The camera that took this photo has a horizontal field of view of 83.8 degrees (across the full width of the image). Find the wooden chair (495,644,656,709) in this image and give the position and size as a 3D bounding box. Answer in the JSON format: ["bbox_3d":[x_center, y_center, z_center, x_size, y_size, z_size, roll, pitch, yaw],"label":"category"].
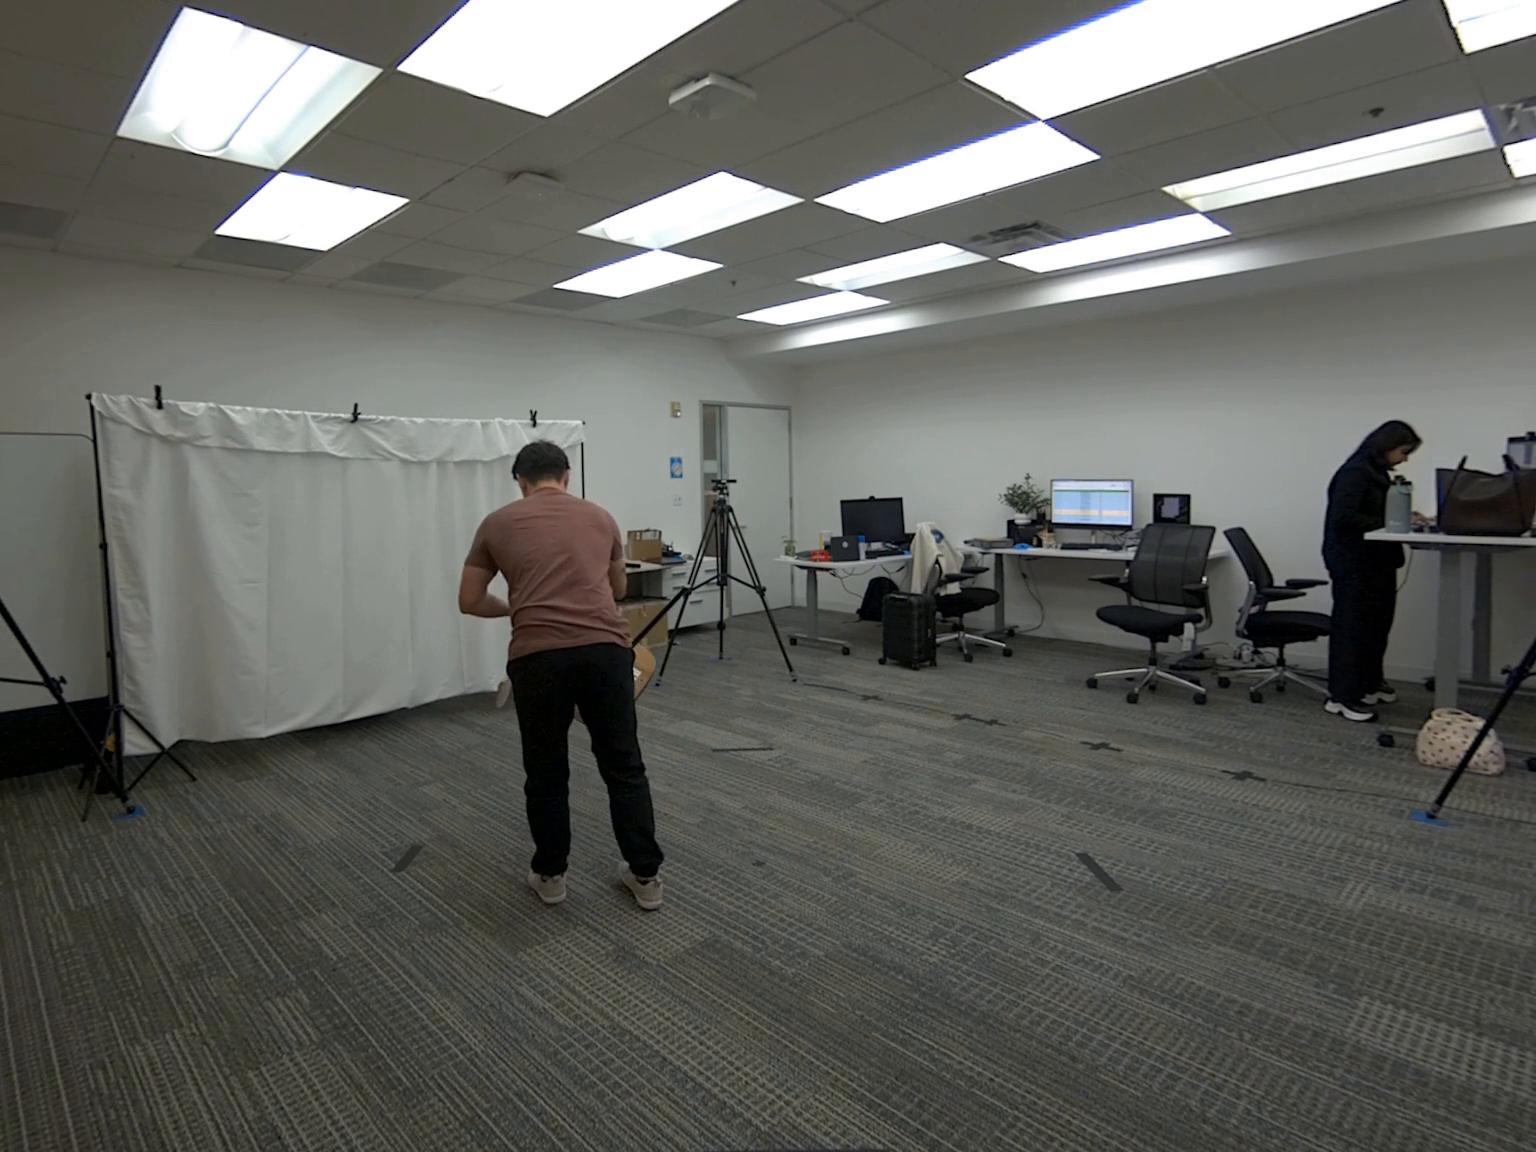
[{"bbox_3d":[-0.719,0.338,3.420,0.524,0.871,0.480,35,42,0],"label":"wooden chair"}]
